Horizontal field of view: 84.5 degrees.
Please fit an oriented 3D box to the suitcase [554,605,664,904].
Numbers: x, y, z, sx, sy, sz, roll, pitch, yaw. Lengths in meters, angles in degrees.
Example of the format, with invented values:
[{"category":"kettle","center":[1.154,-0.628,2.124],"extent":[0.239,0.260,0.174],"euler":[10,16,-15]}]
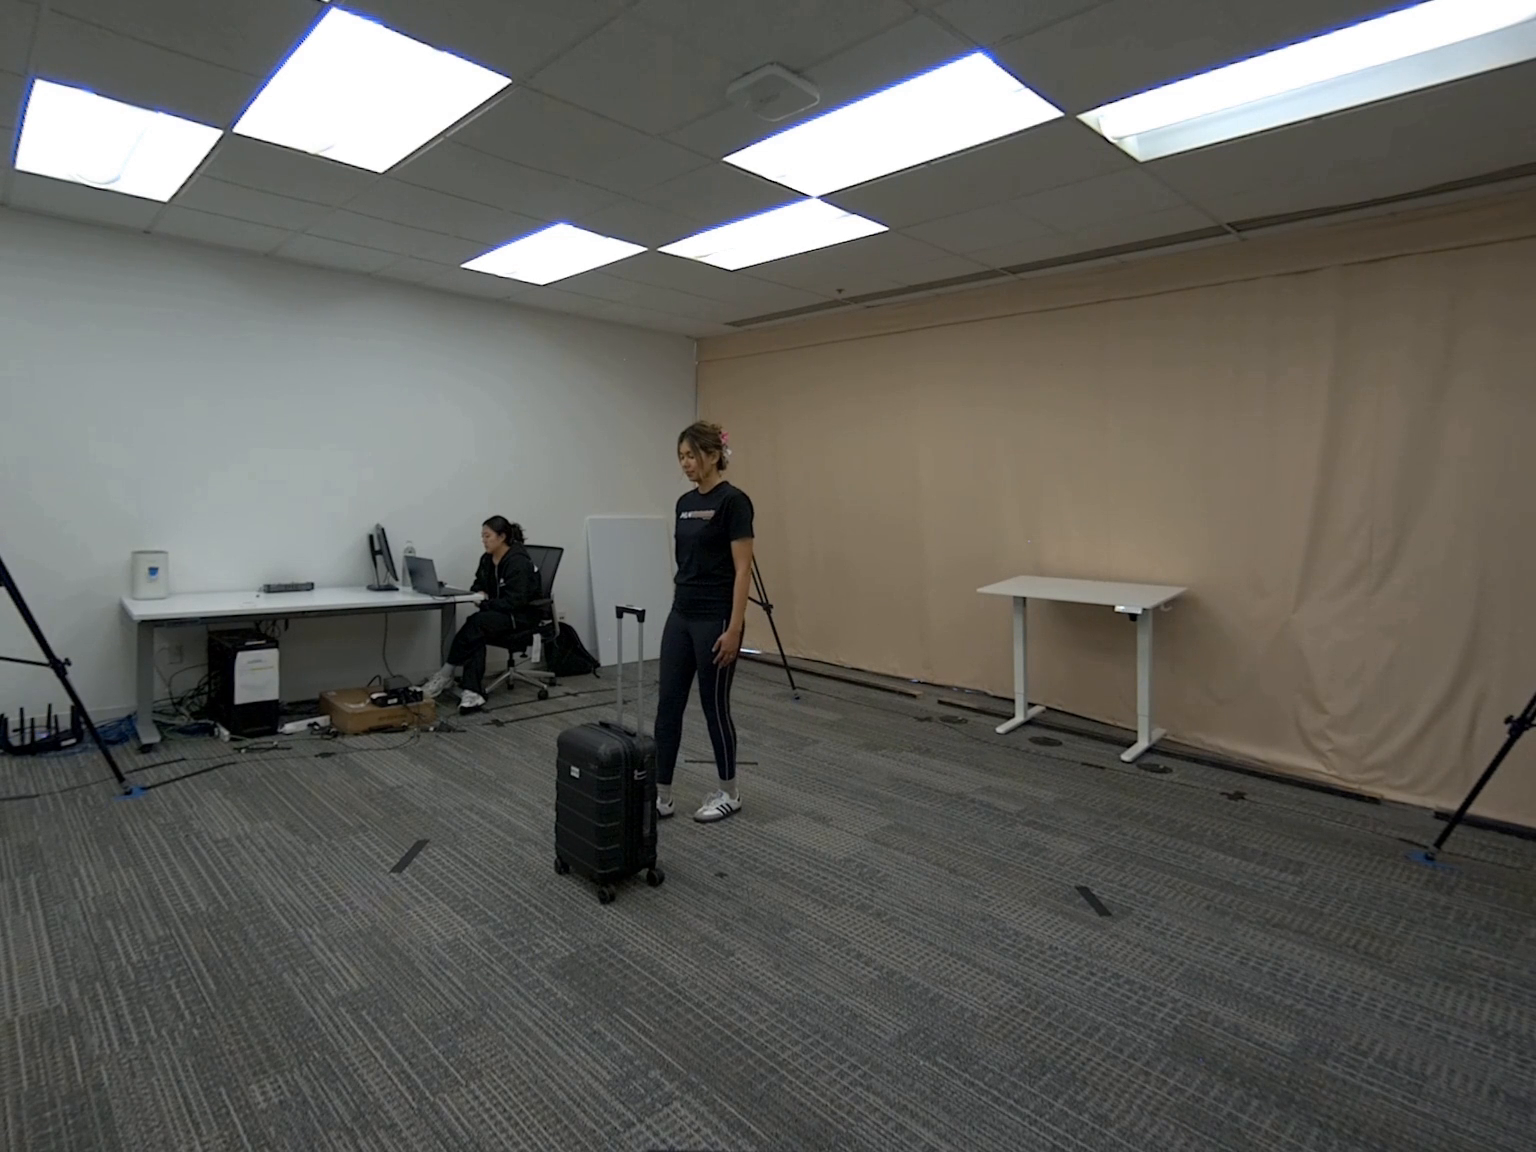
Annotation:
[{"category":"suitcase","center":[-0.604,0.624,3.038],"extent":[0.251,0.976,0.393],"euler":[-5,5,-42]}]
